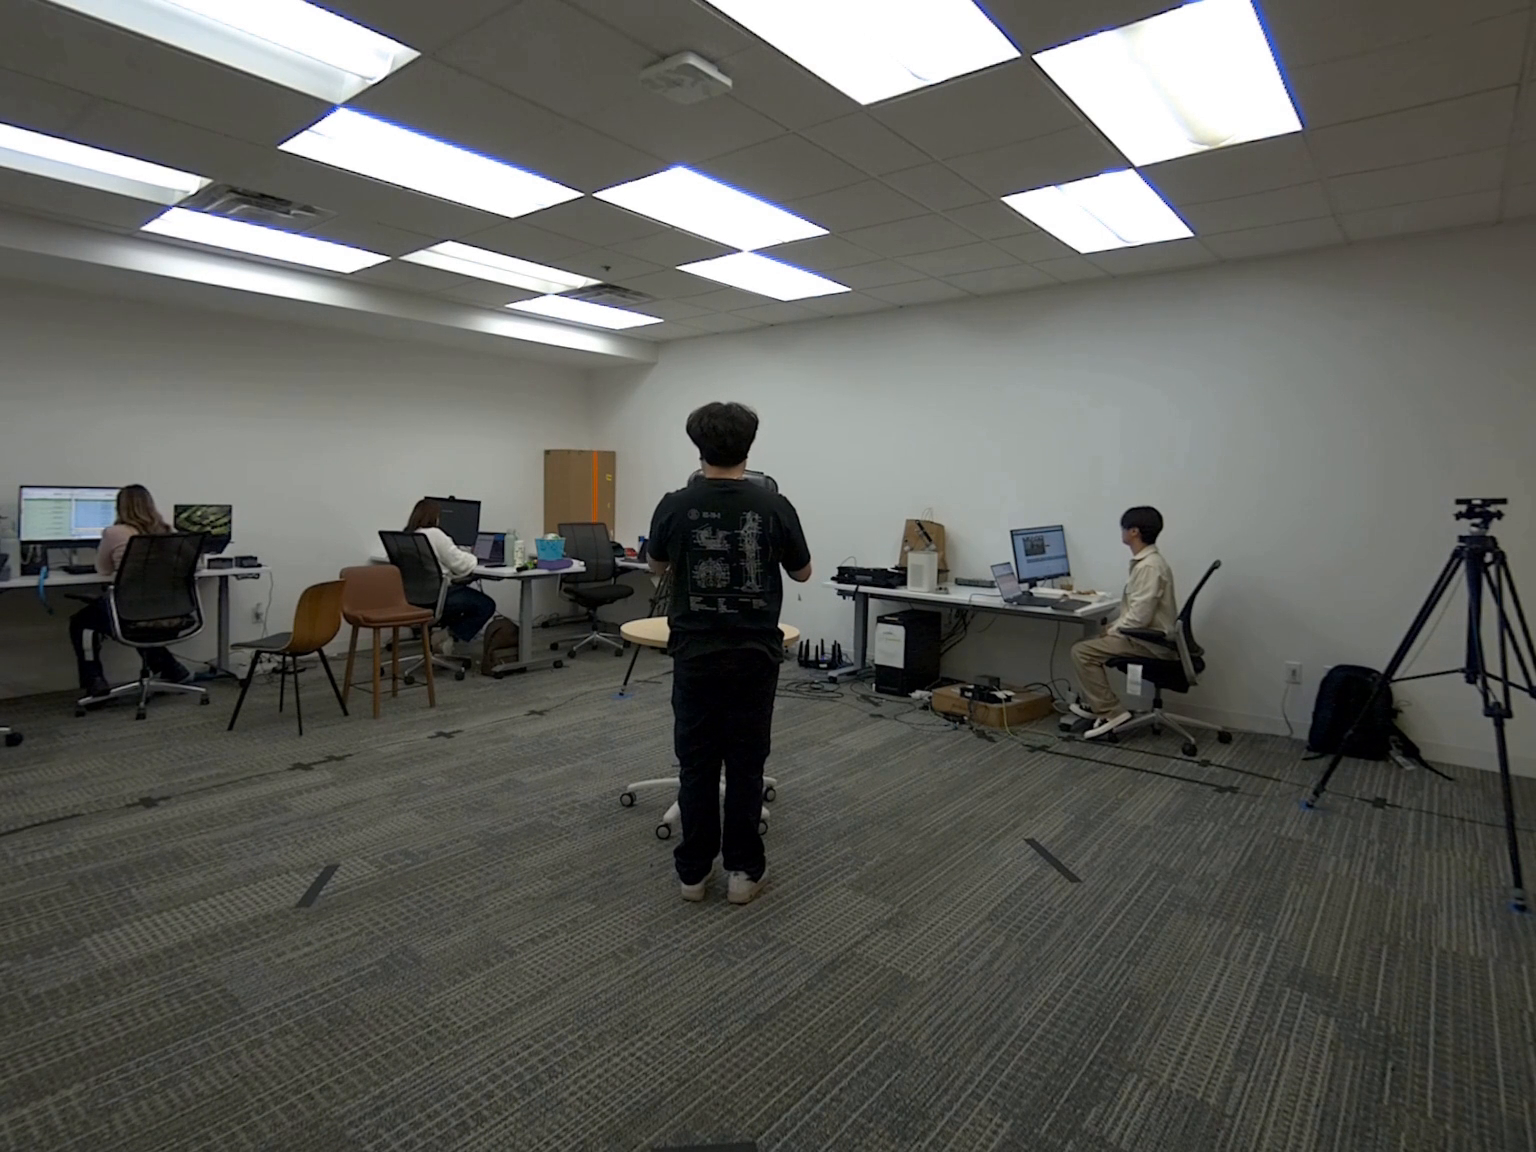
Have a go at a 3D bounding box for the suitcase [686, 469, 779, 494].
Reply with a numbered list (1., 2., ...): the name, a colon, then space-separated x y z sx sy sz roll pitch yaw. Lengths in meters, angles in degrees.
1. suitcase: -0.157 -0.137 3.264 0.378 0.546 0.248 8 6 5
